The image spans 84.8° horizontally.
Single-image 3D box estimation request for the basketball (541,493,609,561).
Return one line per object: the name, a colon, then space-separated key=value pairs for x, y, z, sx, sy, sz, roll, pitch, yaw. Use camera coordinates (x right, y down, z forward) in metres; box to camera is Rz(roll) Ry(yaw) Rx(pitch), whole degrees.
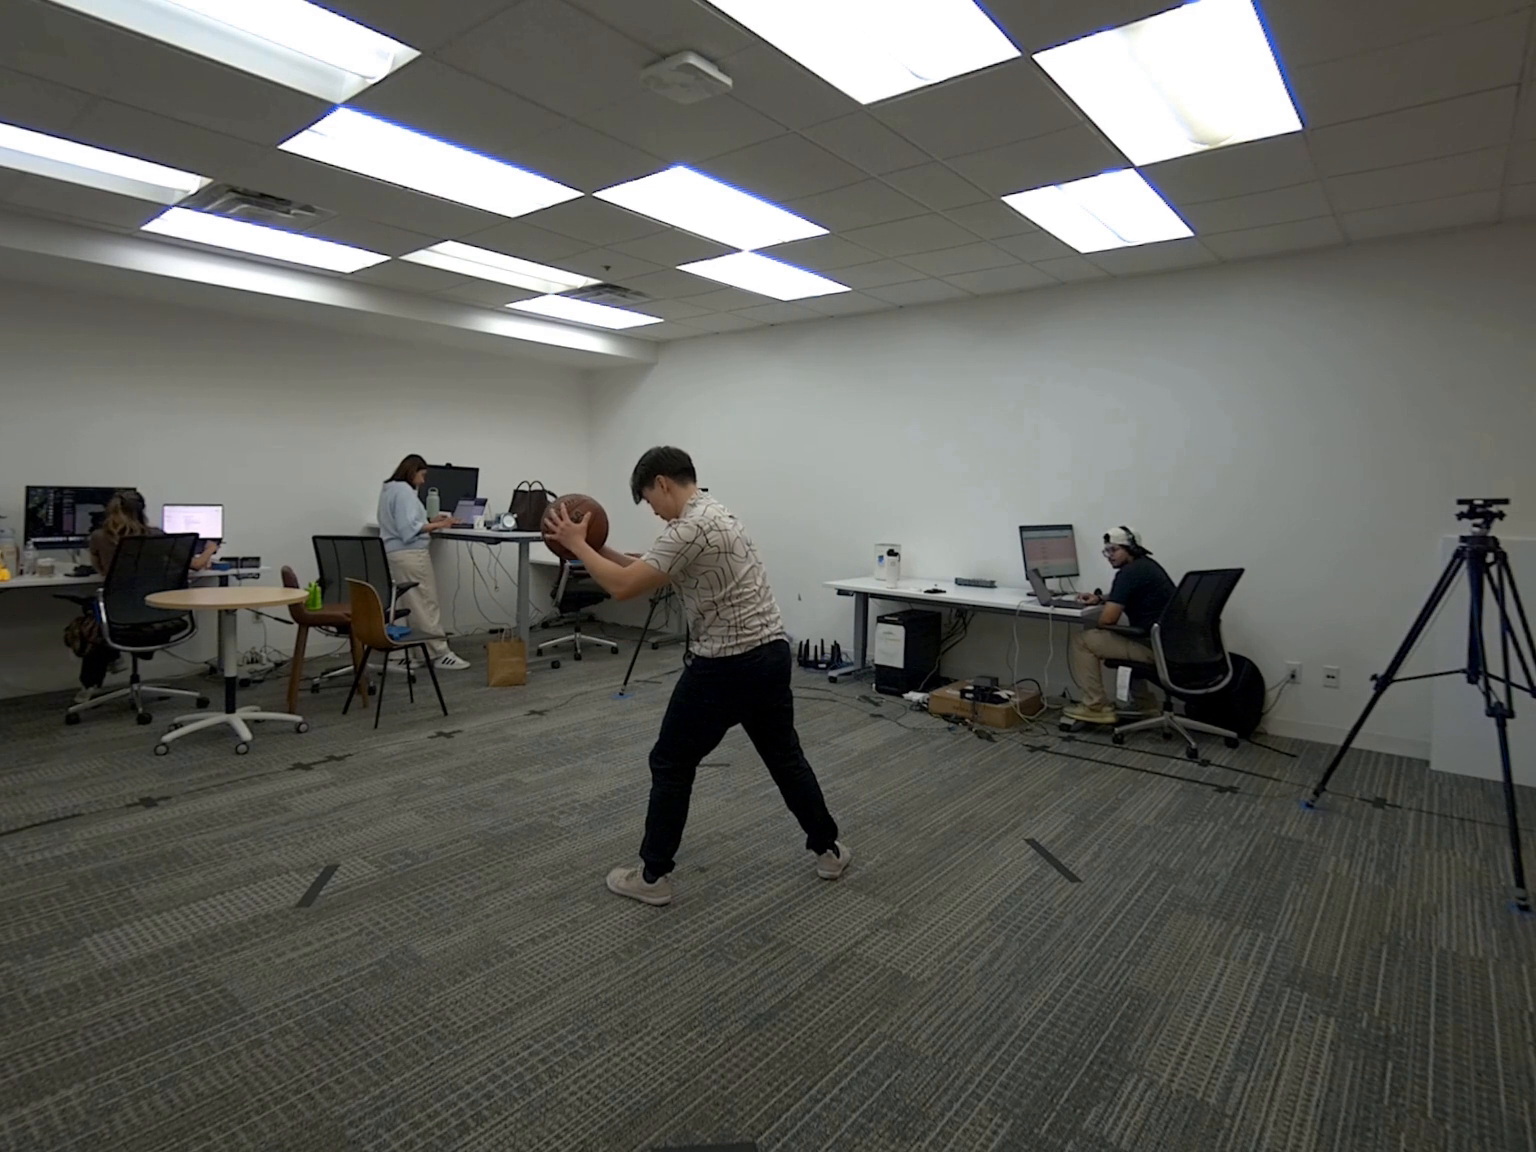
basketball: x=-0.694 y=-0.162 z=3.009 sx=0.235 sy=0.235 sz=0.237 roll=1 pitch=4 yaw=-2
